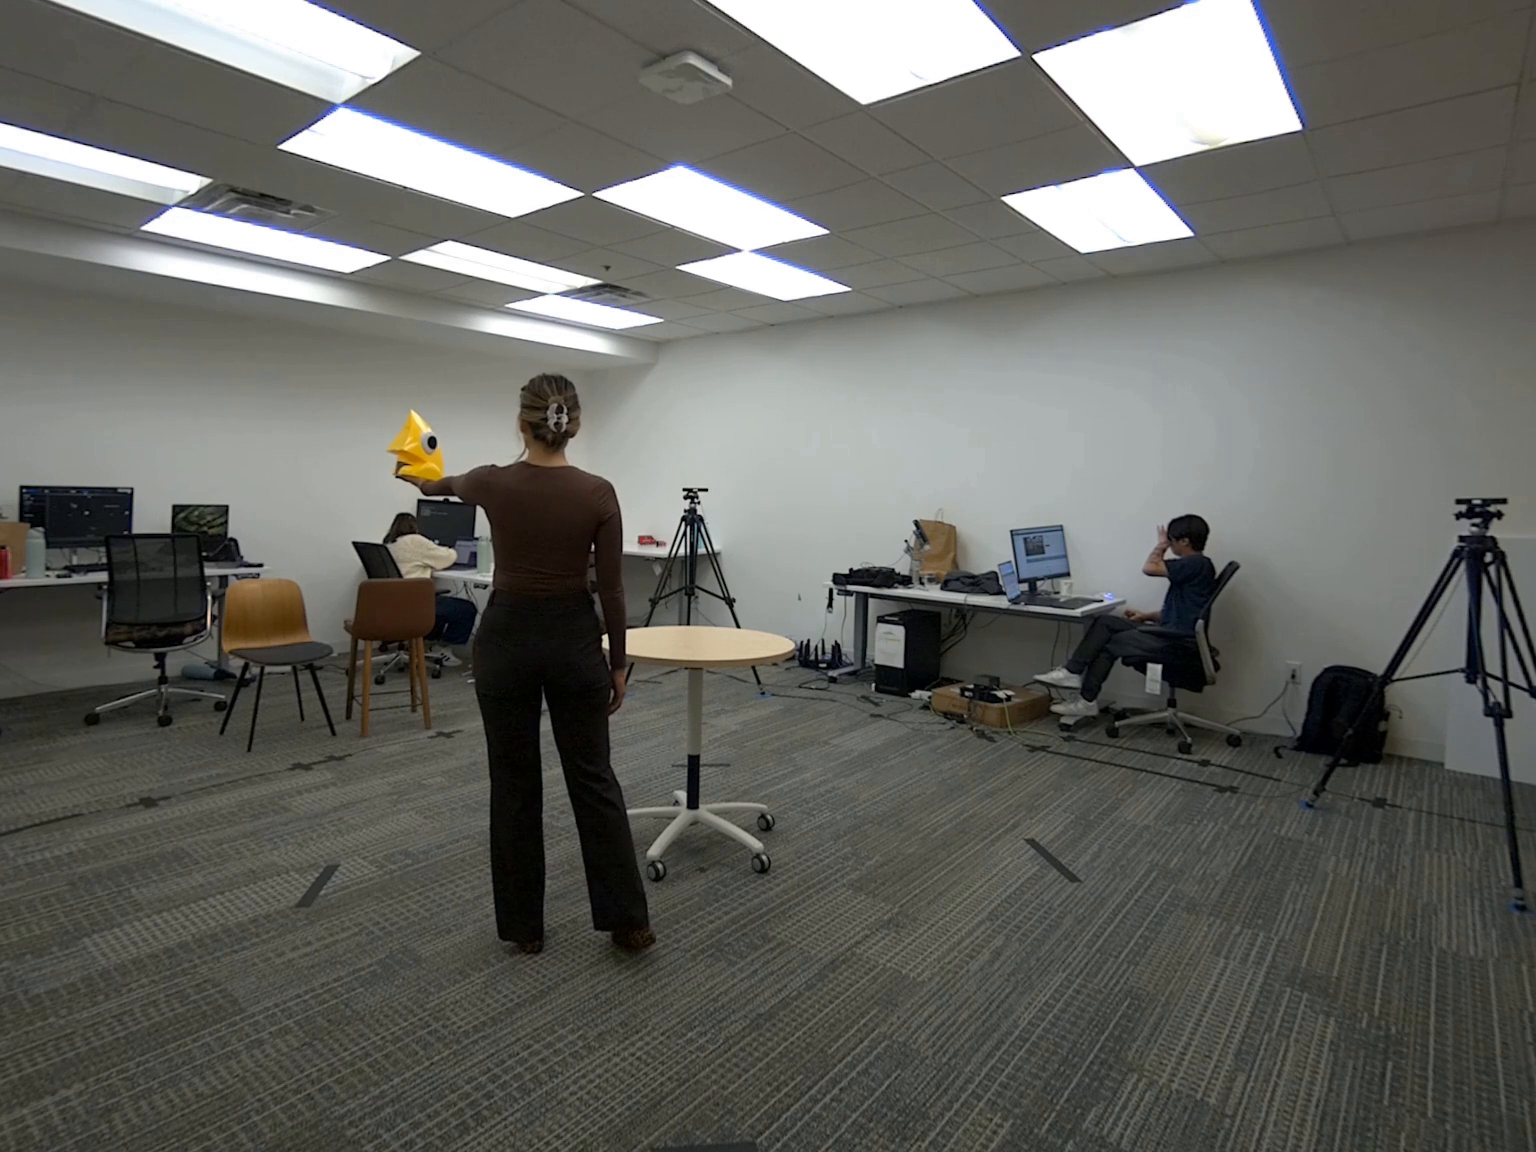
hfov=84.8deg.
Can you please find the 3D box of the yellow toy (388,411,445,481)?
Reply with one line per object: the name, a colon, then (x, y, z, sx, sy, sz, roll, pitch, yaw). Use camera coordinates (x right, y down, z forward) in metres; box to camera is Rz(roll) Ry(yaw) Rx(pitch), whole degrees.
yellow toy: (-1.230, -0.458, 2.983, 0.186, 0.231, 0.211, 12, -4, -39)
